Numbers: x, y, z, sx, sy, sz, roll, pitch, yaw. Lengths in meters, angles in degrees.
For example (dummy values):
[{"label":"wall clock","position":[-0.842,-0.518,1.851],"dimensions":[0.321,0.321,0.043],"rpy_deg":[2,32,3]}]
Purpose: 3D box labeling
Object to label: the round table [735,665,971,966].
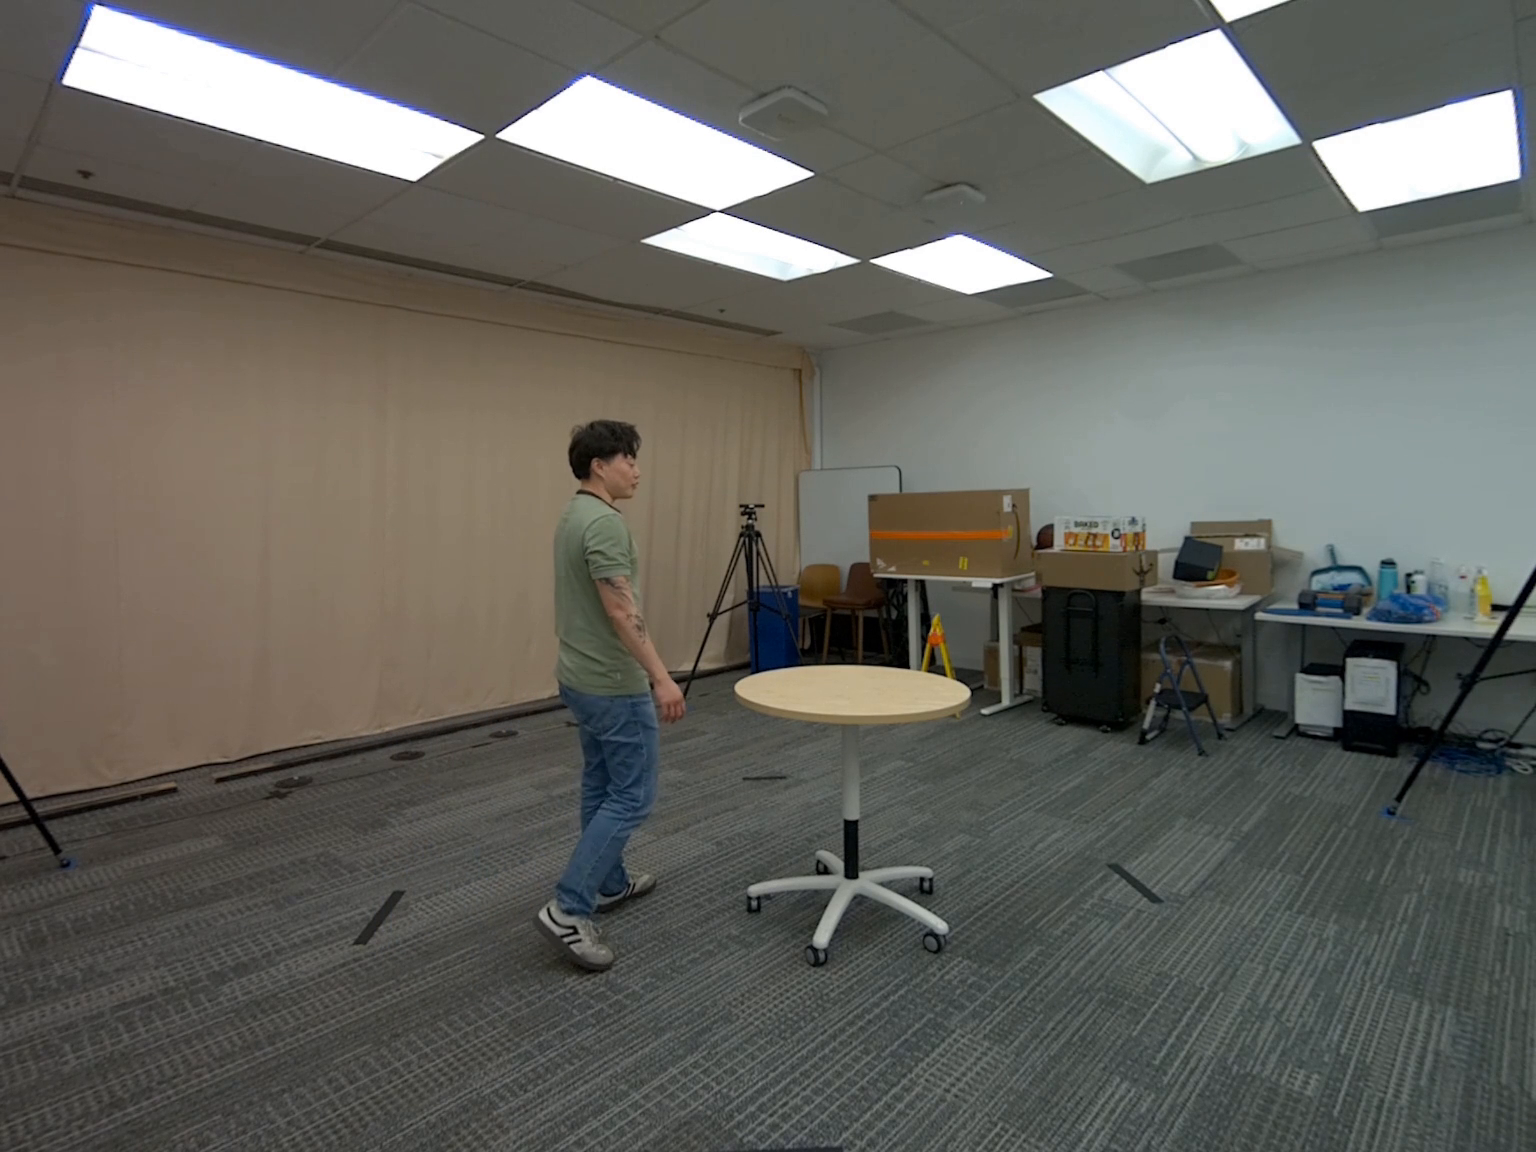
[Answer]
[{"label":"round table","position":[0.283,0.764,2.802],"dimensions":[0.763,0.792,0.766],"rpy_deg":[-1,4,-2]}]
